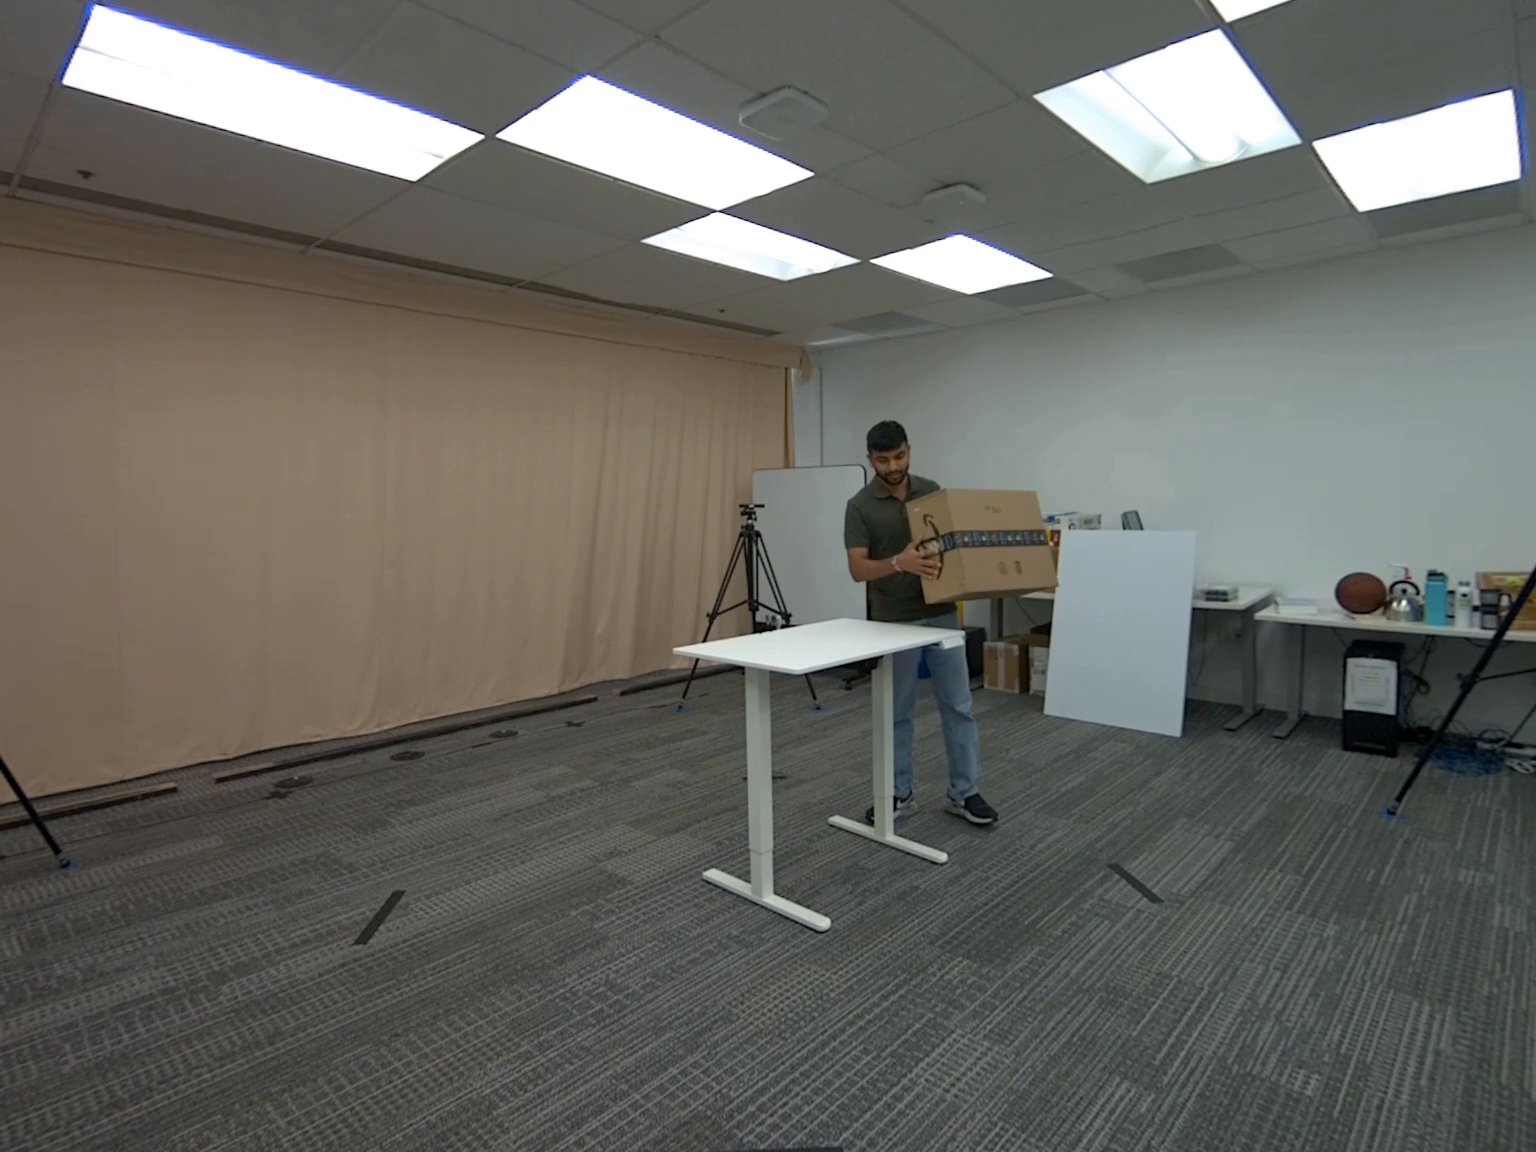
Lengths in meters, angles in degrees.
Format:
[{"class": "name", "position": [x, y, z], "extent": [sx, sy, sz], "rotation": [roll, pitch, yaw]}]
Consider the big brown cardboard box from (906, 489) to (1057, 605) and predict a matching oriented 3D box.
[{"class": "big brown cardboard box", "position": [0.876, -0.117, 3.447], "extent": [0.572, 0.421, 0.238], "rotation": [-2, -13, -33]}]
